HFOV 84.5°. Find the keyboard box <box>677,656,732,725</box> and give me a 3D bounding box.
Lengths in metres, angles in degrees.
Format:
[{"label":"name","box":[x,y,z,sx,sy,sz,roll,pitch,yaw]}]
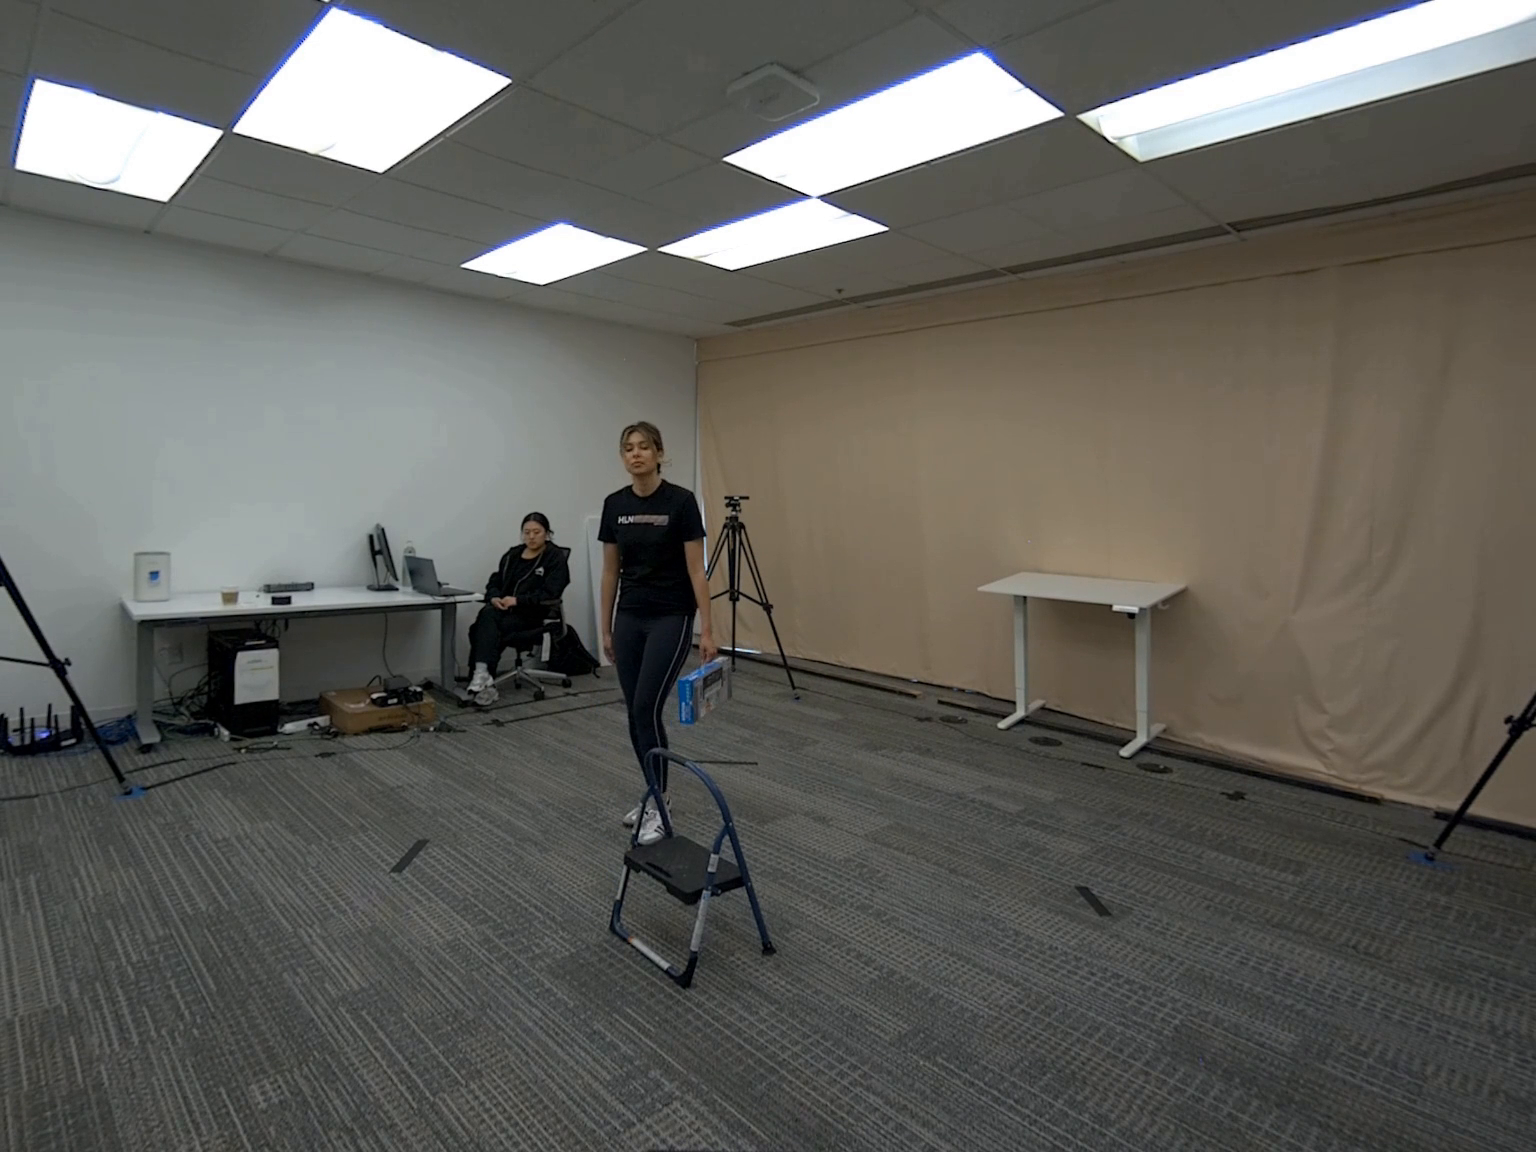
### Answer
[{"label":"keyboard box","box":[-0.258,0.454,3.417,0.060,0.175,0.432,2,7,17]}]
